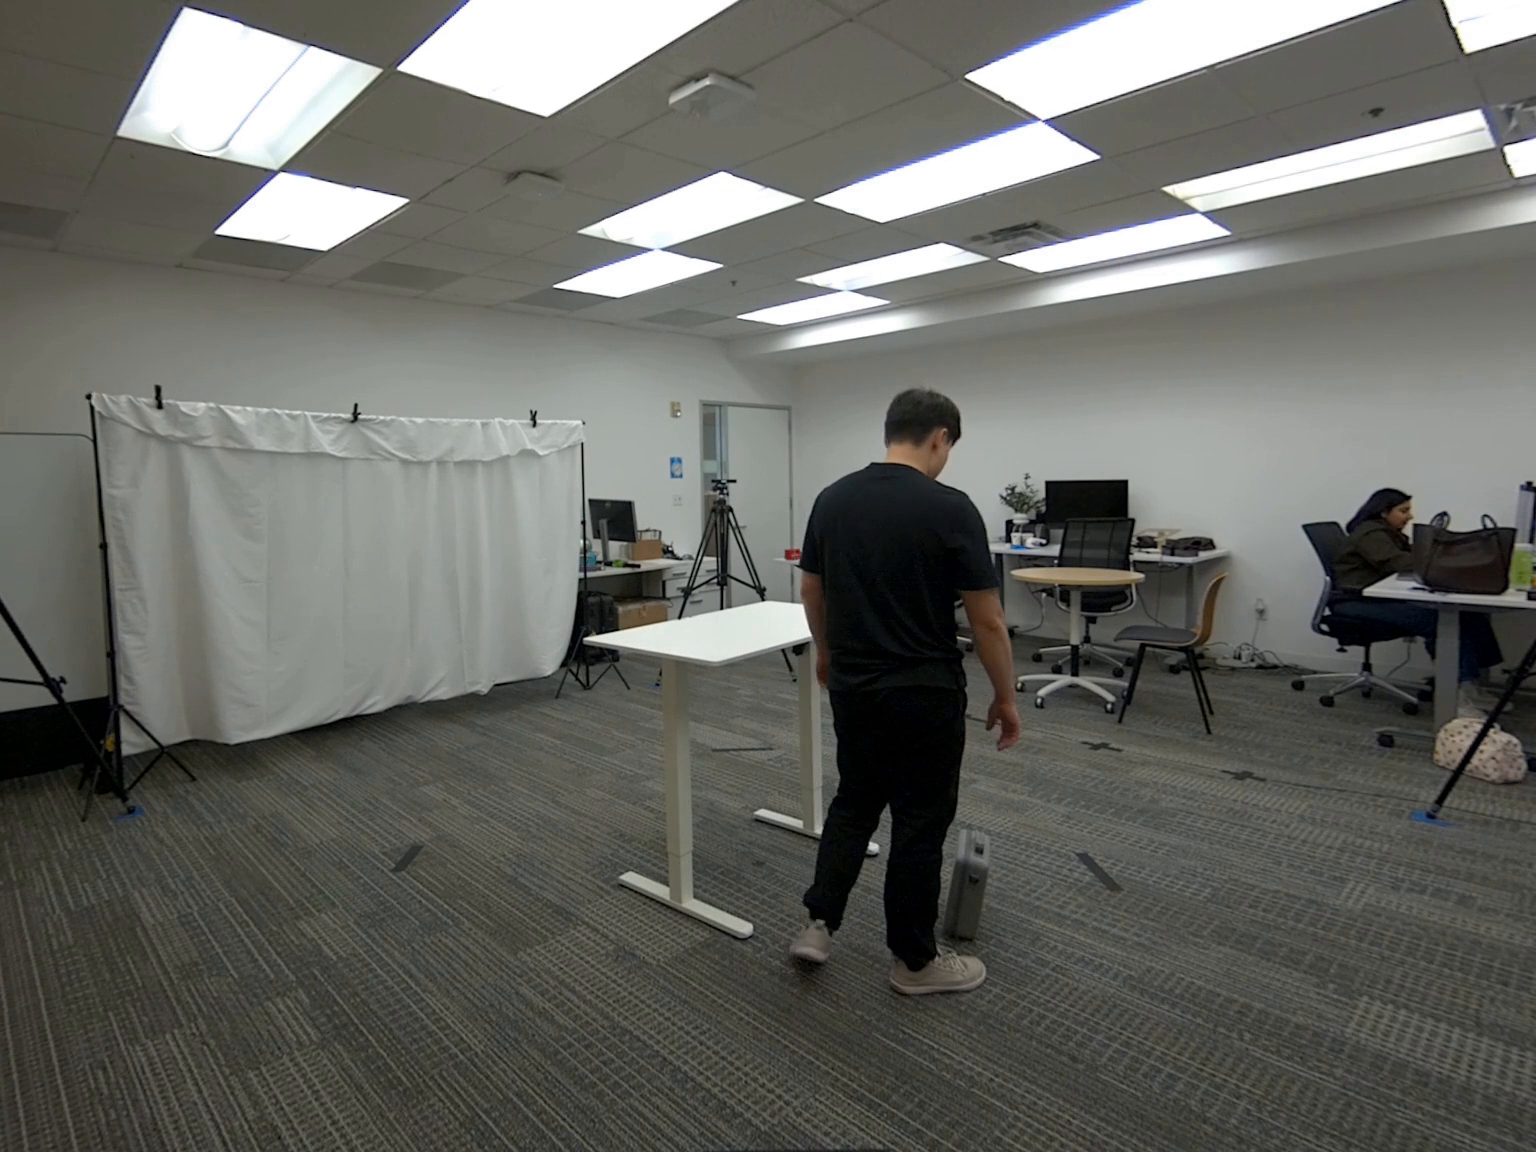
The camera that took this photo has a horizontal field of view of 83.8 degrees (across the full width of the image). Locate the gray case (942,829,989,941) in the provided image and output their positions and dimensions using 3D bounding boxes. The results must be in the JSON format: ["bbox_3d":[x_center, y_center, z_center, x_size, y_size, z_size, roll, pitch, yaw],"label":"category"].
[{"bbox_3d":[0.623,0.947,2.666,0.106,0.259,0.254,10,9,16],"label":"gray case"}]
